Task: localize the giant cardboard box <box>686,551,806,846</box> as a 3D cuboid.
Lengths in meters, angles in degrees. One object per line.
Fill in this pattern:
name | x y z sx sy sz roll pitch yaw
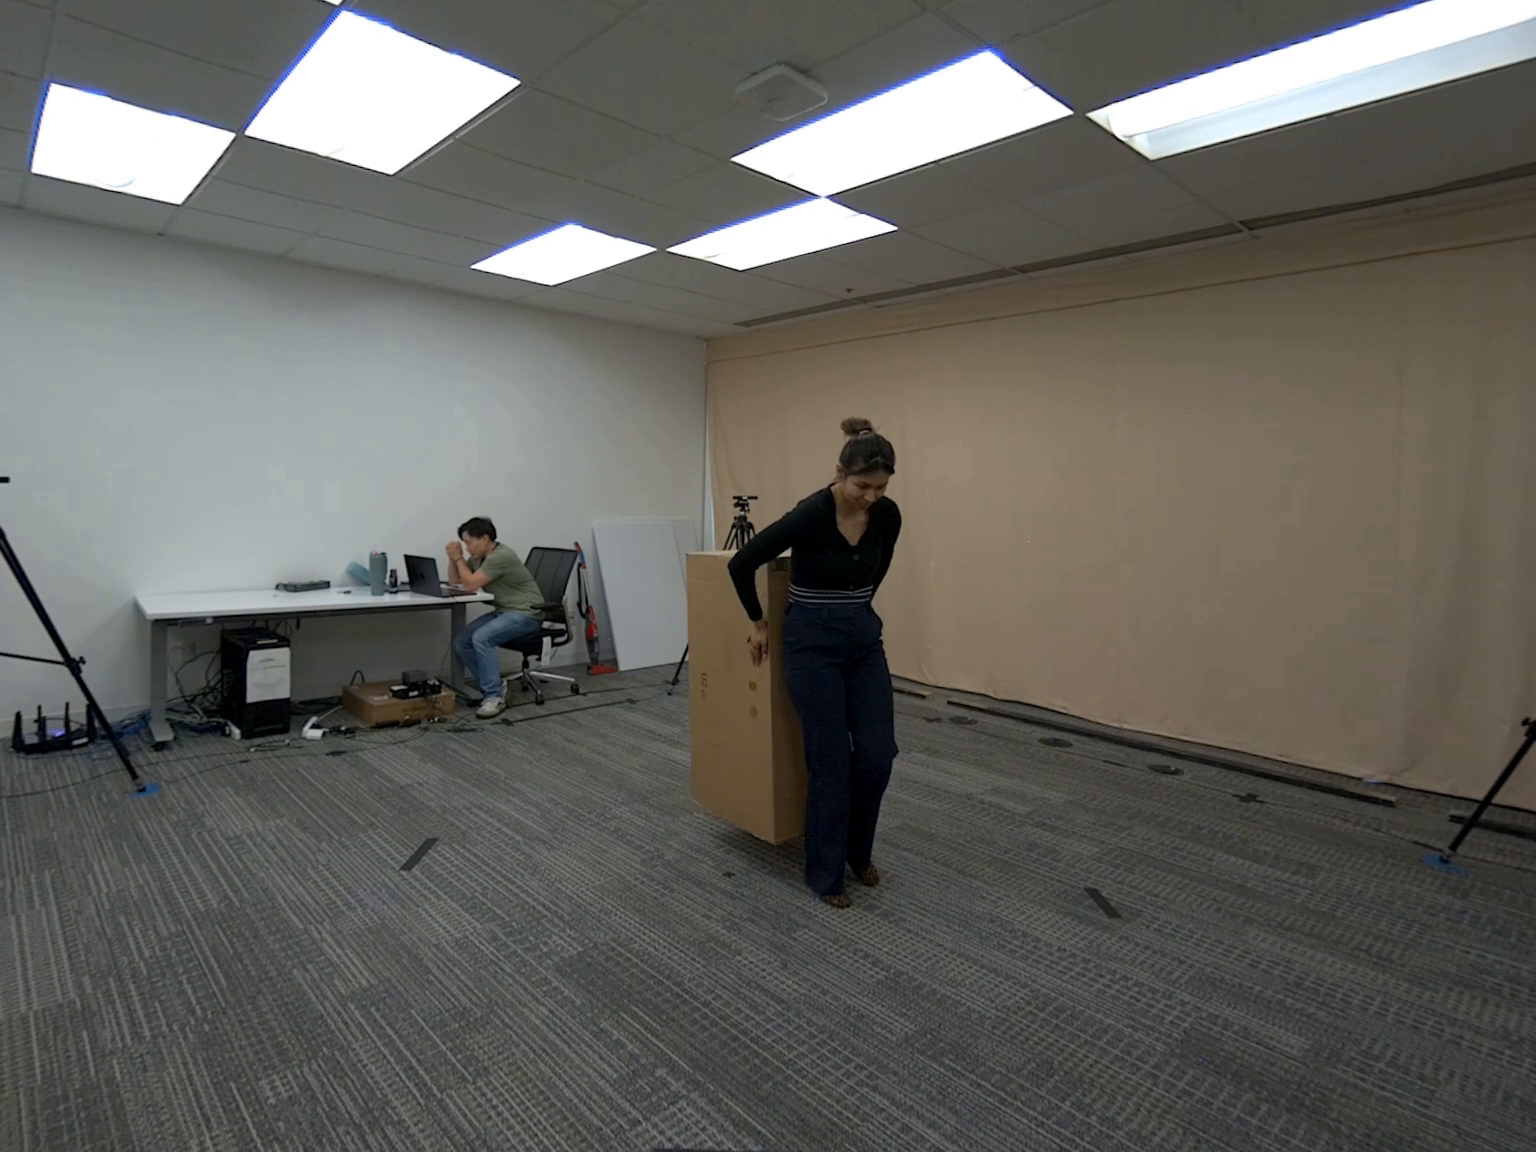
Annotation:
giant cardboard box | -0.001 0.424 3.328 0.417 1.024 0.590 -3 3 -34
